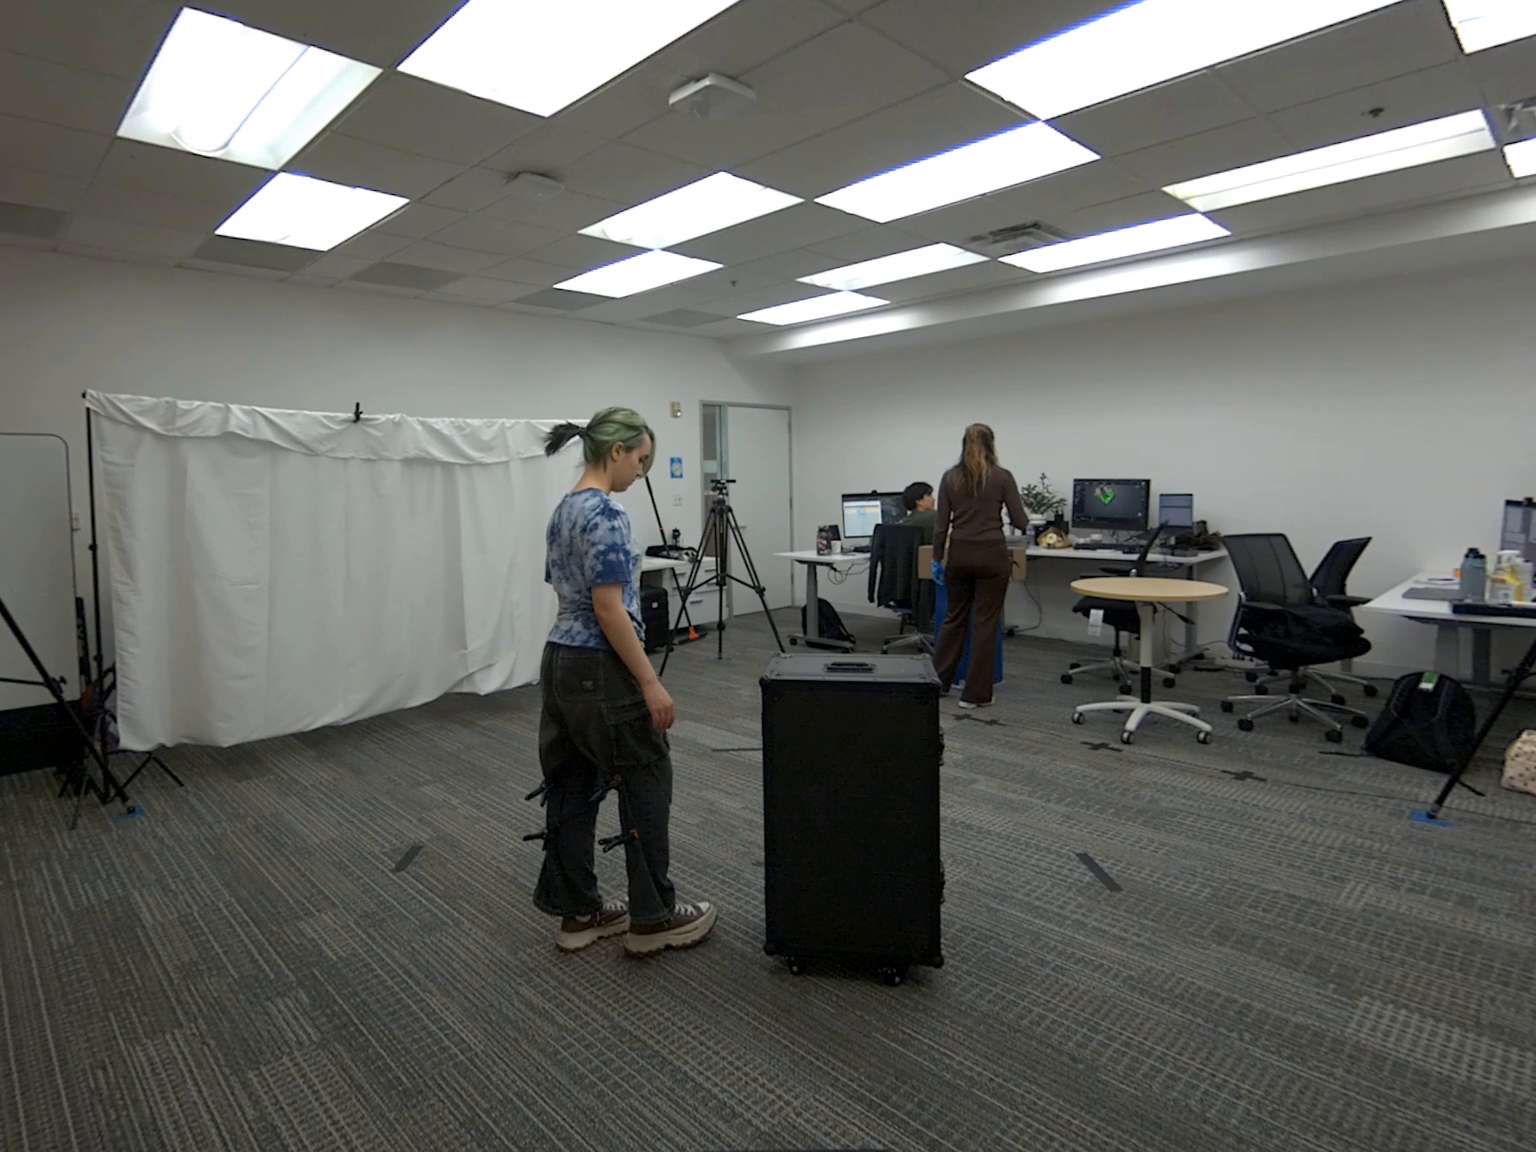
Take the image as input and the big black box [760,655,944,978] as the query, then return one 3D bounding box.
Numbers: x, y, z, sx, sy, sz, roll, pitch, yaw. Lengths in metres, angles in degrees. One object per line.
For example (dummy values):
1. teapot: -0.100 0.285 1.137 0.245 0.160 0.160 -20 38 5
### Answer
1. big black box: 0.244 0.688 2.508 0.527 0.859 0.393 -1 3 10
